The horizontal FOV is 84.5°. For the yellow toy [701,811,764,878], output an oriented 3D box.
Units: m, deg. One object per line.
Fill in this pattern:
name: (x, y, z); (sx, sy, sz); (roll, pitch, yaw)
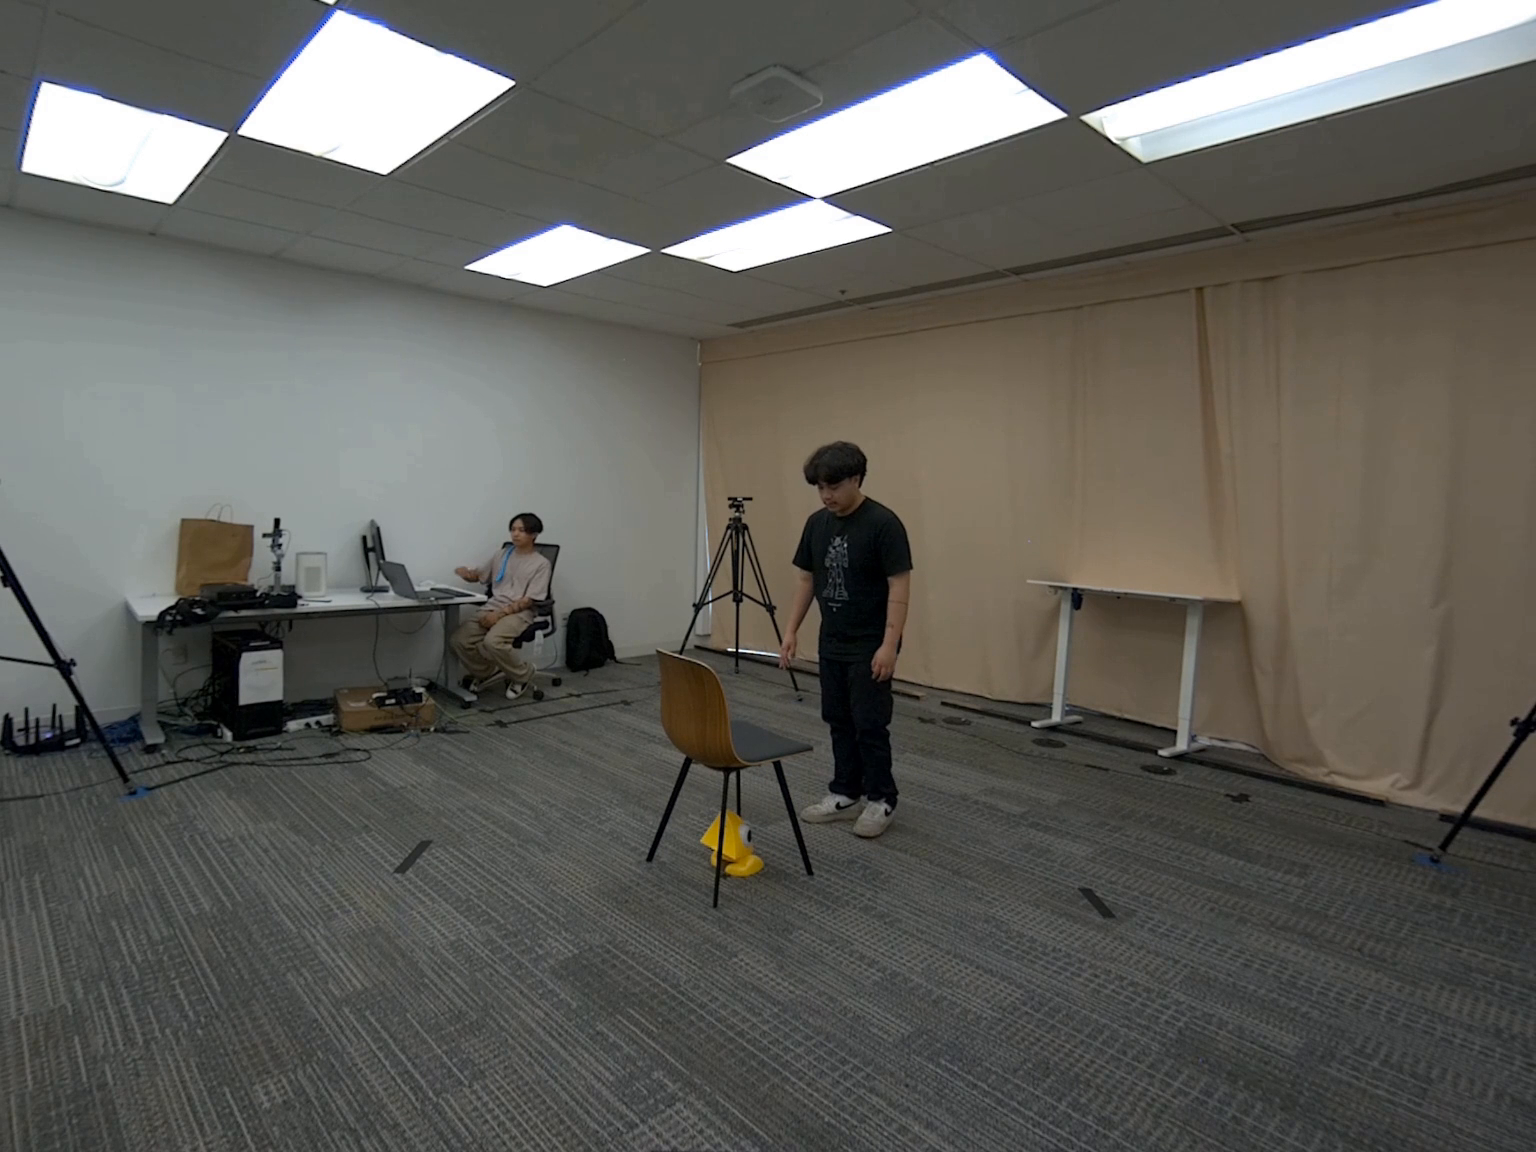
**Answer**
yellow toy: (-0.130, 0.989, 3.199); (0.188, 0.230, 0.210); (-1, 5, -42)
